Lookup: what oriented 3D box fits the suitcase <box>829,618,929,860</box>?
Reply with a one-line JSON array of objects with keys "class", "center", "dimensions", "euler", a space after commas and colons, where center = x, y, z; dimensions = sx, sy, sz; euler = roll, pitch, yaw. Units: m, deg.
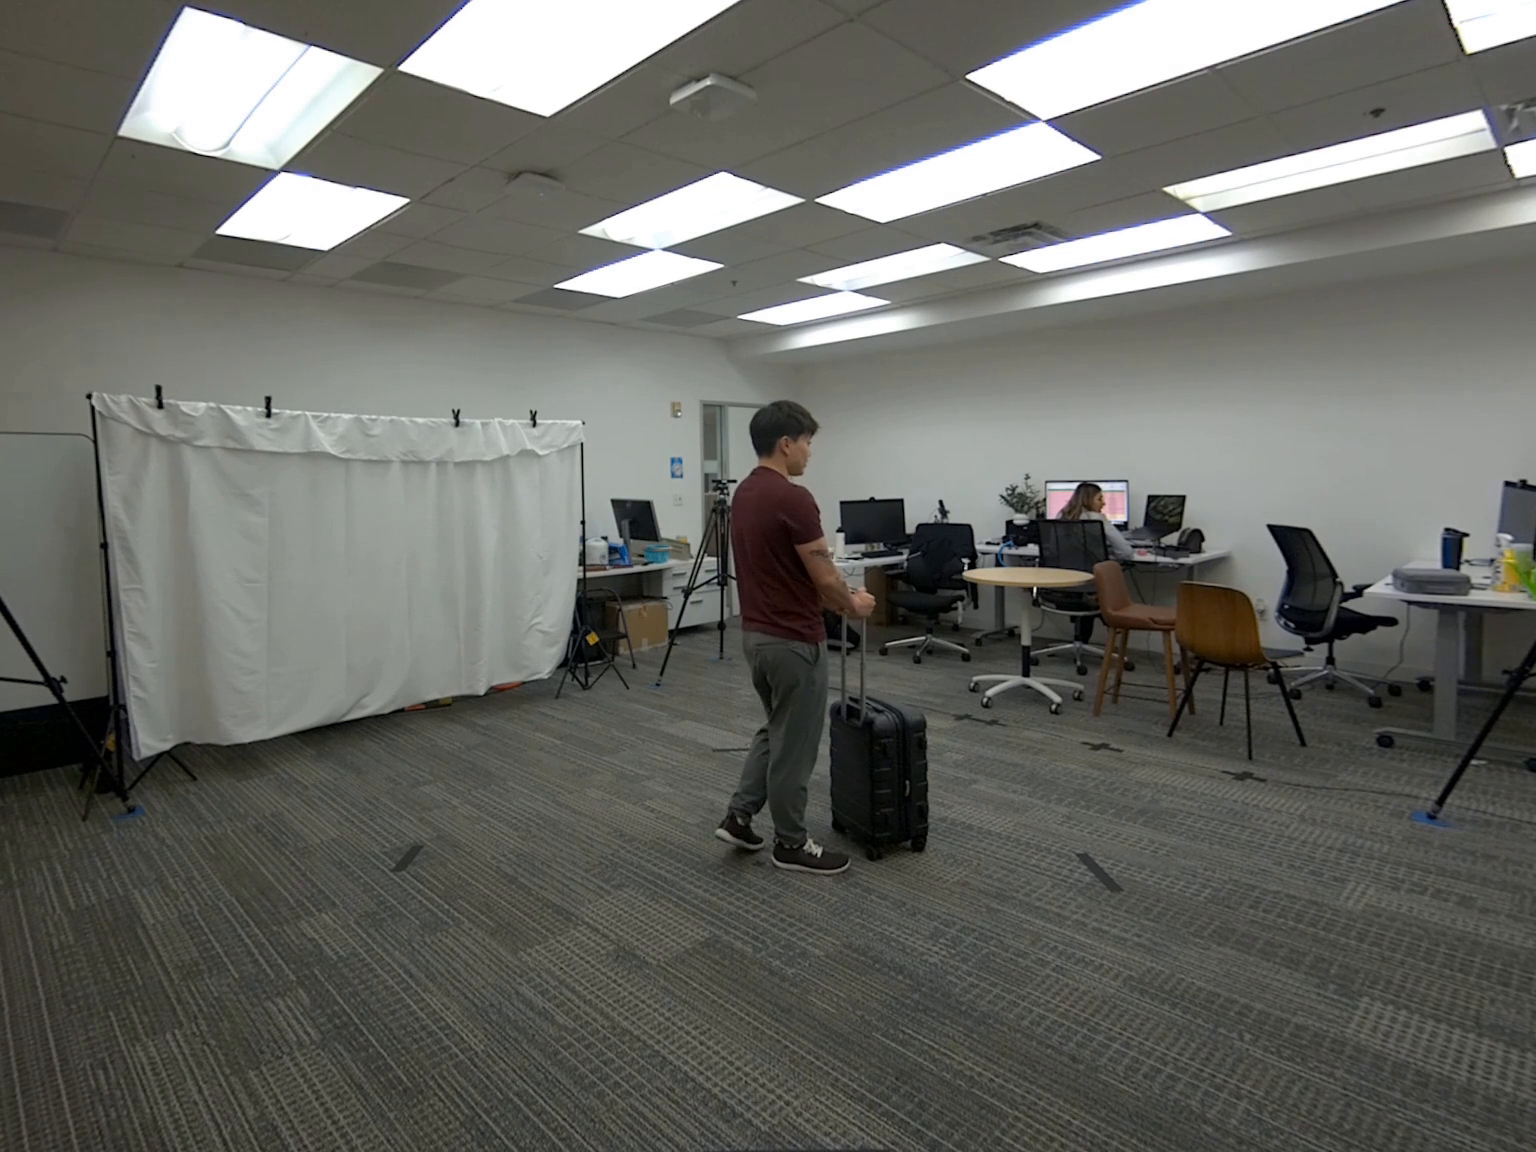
[{"class": "suitcase", "center": [0.423, 0.546, 3.258], "dimensions": [0.252, 0.975, 0.393], "euler": [-1, 4, -22]}]
